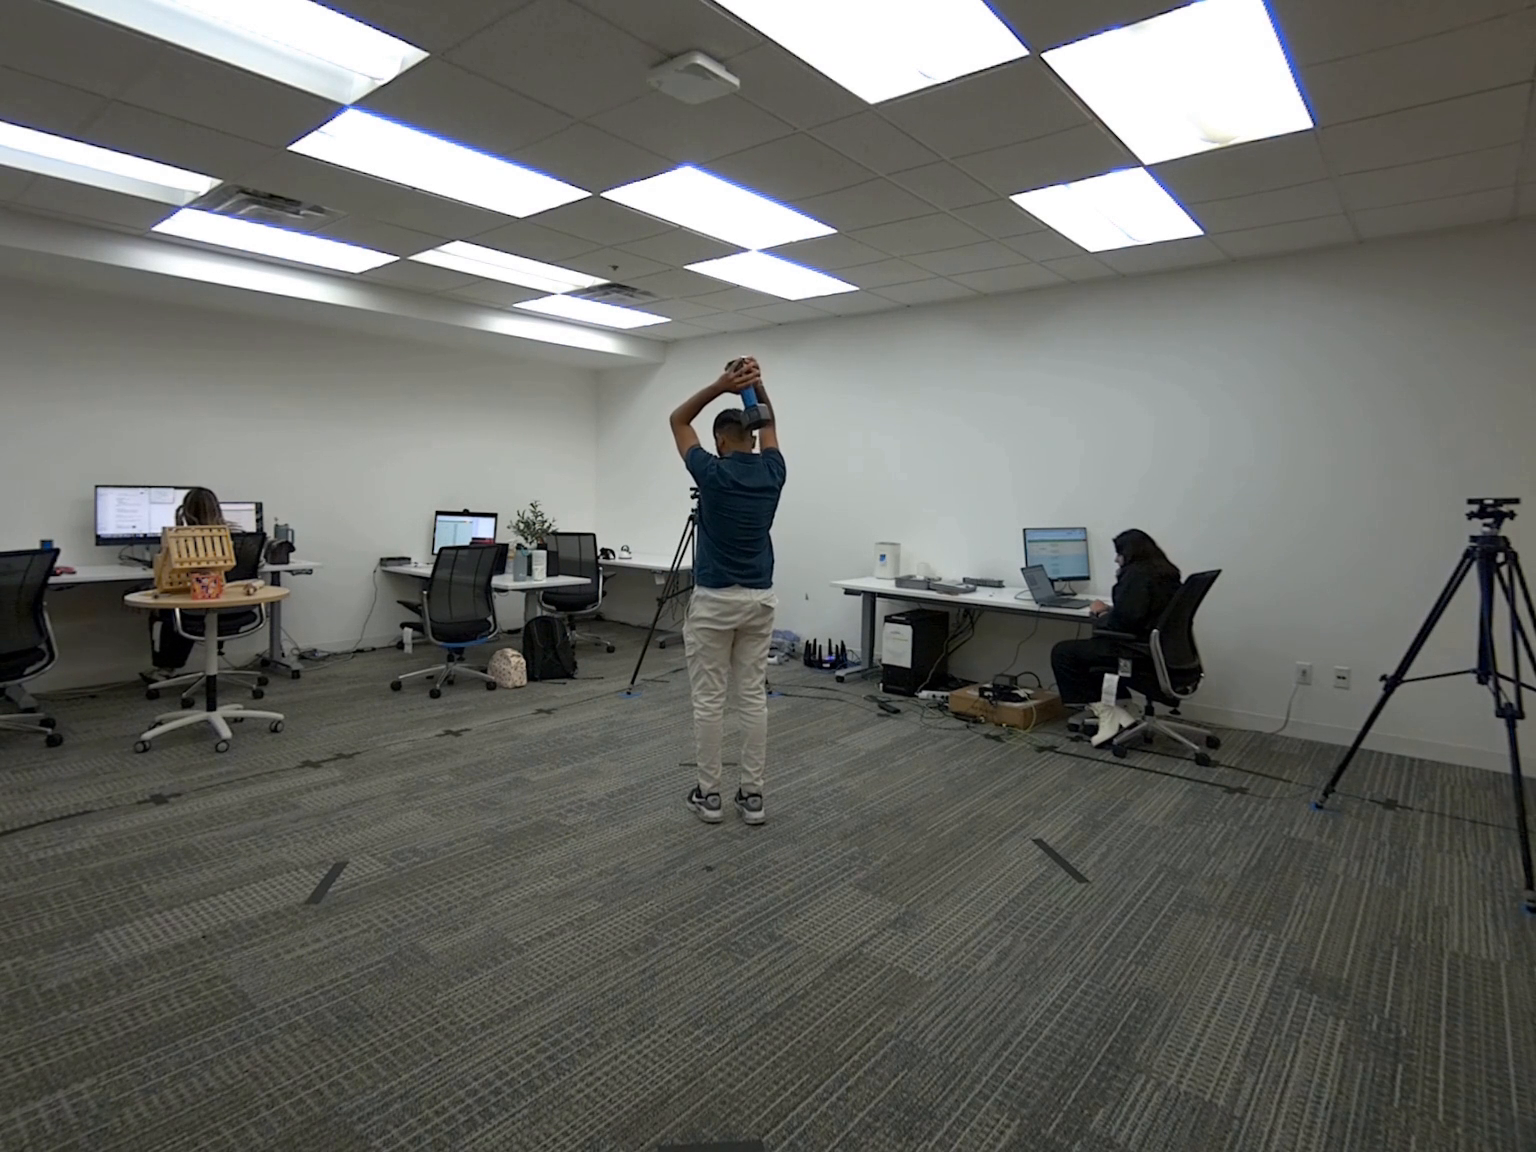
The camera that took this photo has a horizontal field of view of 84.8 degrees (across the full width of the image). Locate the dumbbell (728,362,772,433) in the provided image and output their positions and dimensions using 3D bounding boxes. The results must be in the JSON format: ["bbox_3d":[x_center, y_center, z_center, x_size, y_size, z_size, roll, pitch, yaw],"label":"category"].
[{"bbox_3d":[-0.089,-0.747,3.497,0.107,0.297,0.123,-14,-10,-15],"label":"dumbbell"}]
